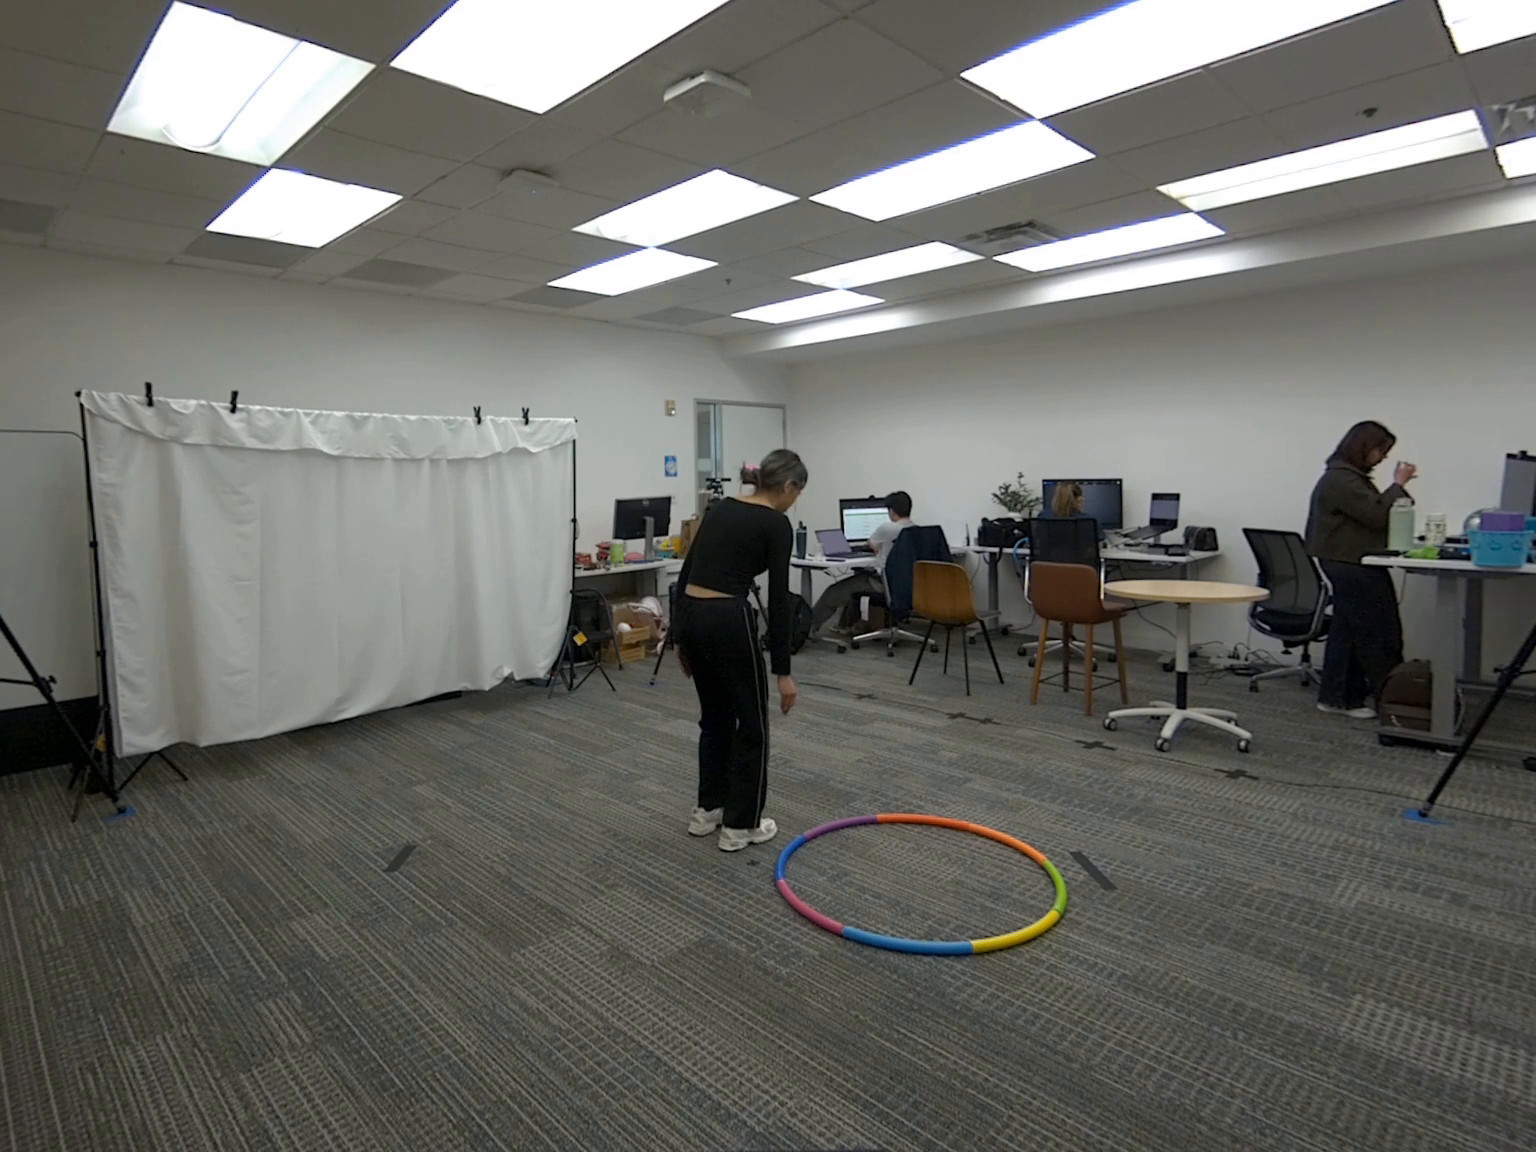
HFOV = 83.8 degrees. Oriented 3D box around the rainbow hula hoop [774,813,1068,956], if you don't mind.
[{"bbox_3d":[0.512,1.020,2.965,0.978,0.035,0.984,-2,7,-1],"label":"rainbow hula hoop"}]
